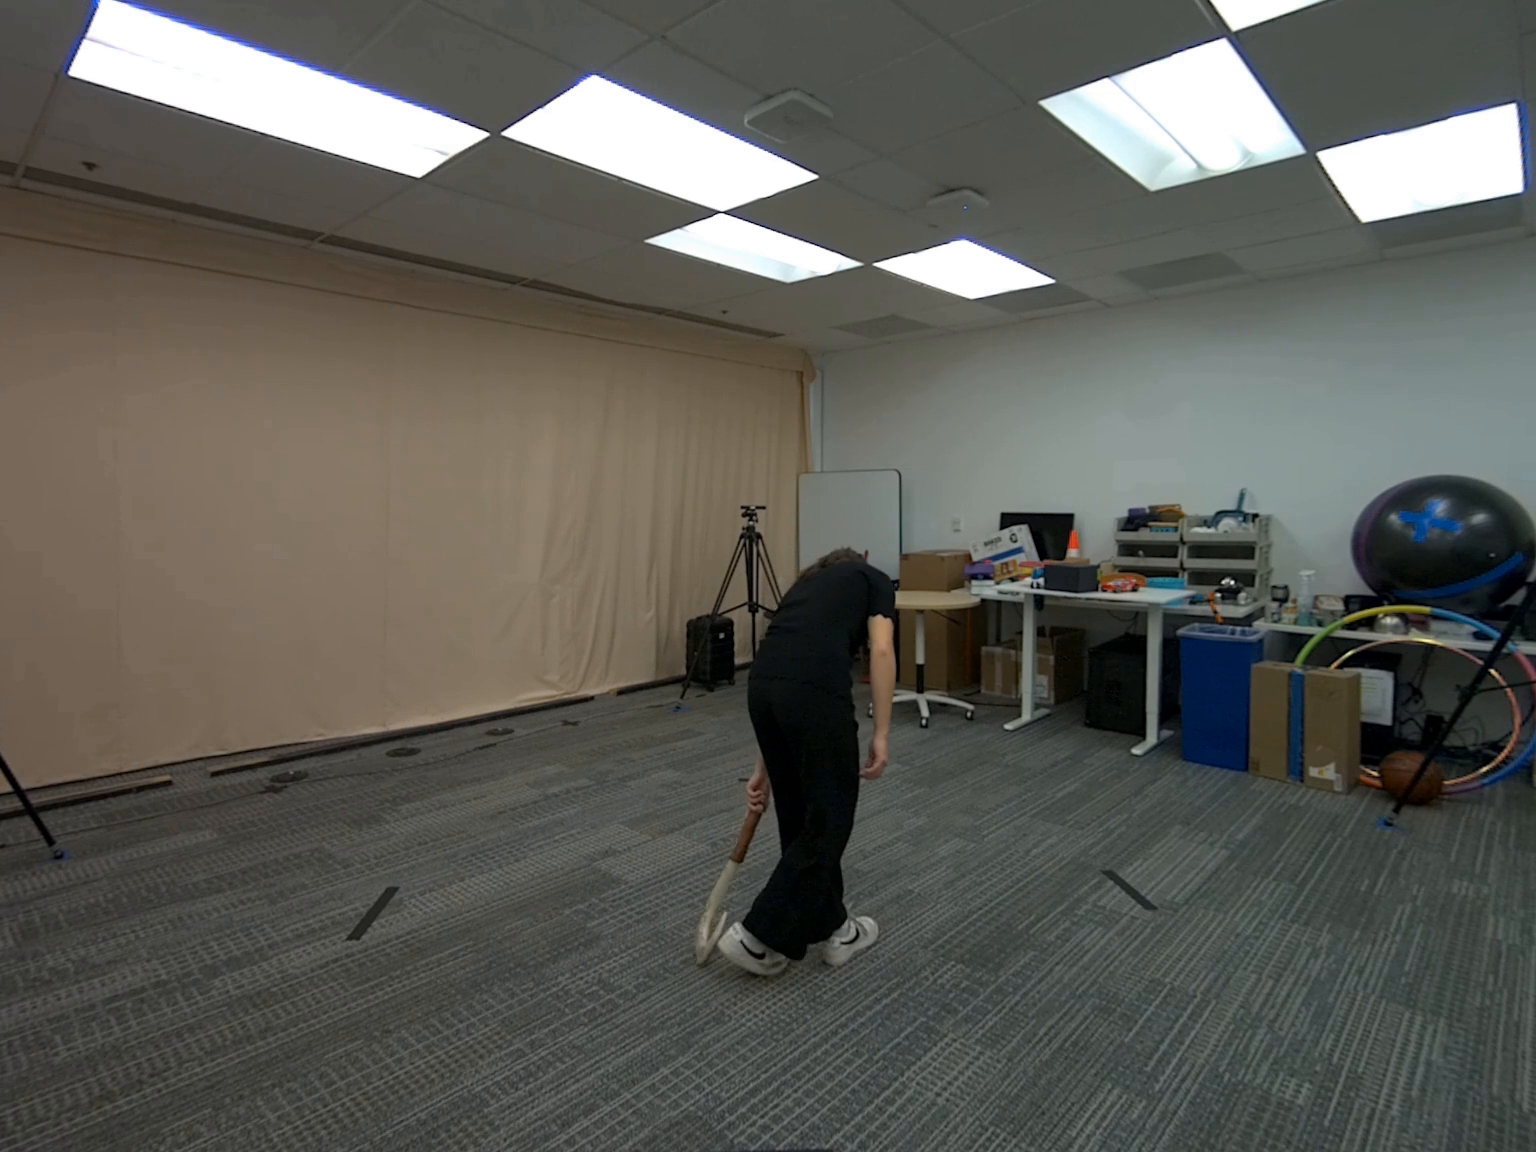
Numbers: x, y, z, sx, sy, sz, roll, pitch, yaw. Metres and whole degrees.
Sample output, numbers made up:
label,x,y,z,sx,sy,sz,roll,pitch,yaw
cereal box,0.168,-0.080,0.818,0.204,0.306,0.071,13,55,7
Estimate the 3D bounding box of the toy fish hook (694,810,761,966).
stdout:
label,x,y,z,sx,sy,sz,roll,pitch,yaw
toy fish hook,-0.107,0.952,2.589,0.047,0.506,0.228,23,2,-13
